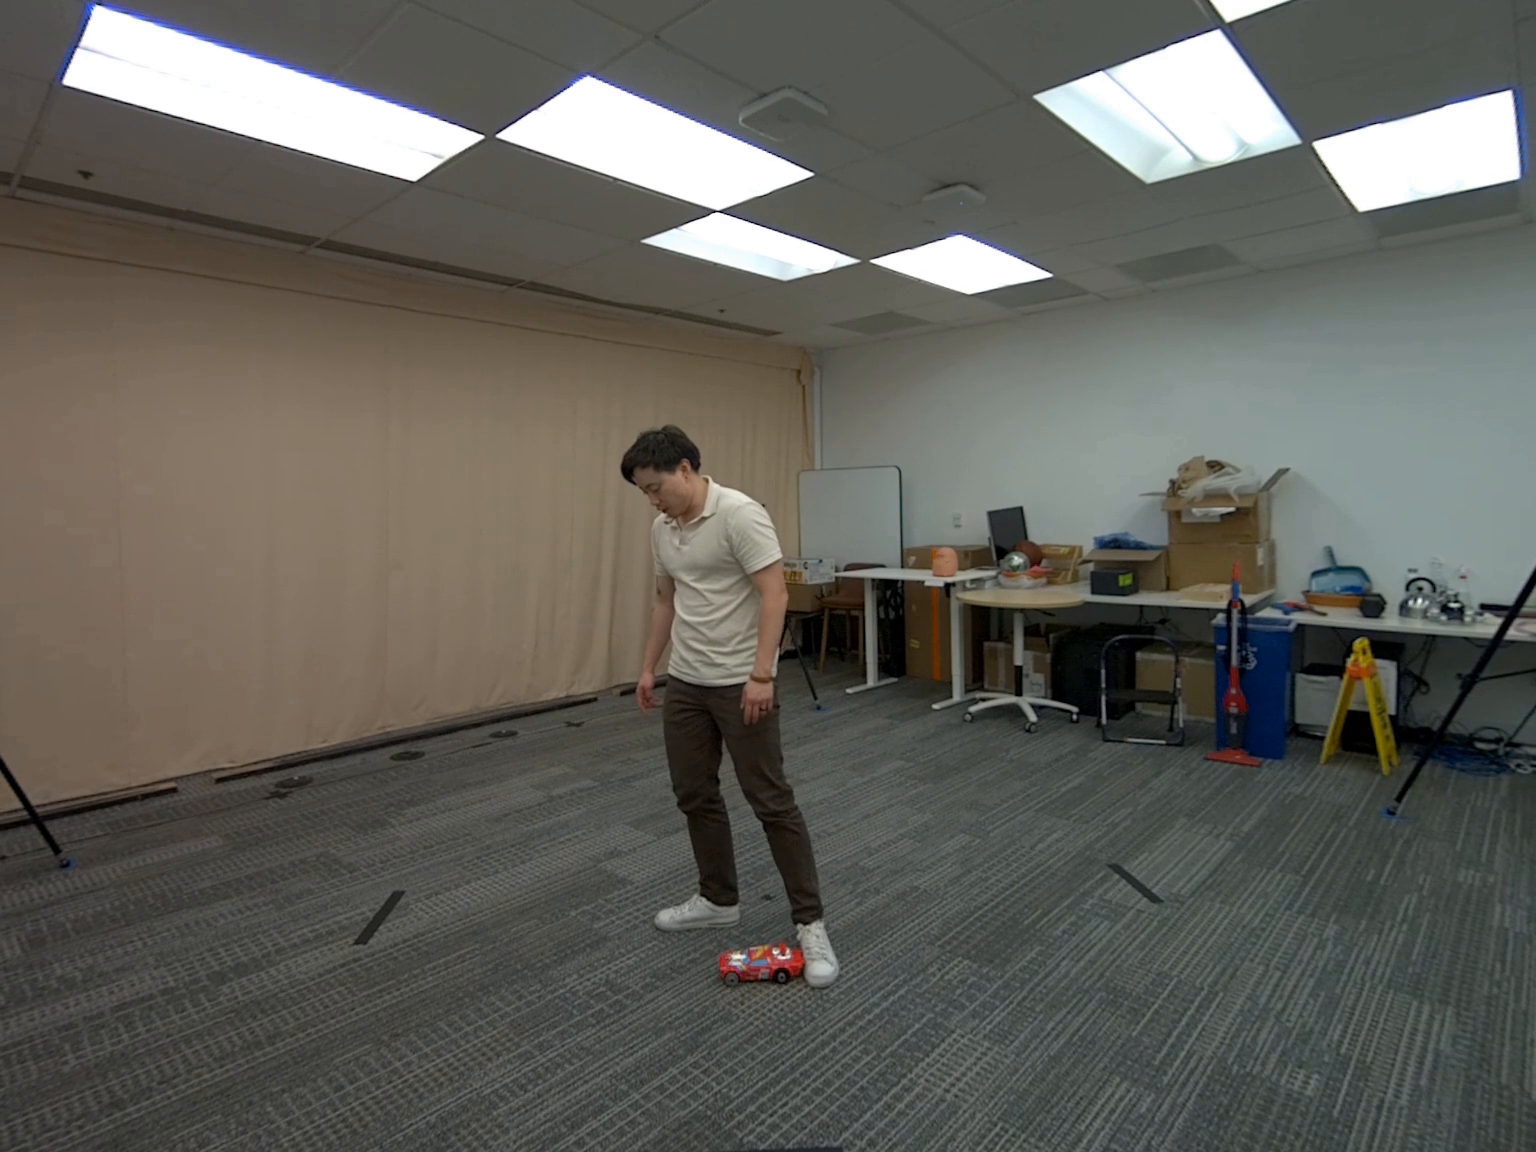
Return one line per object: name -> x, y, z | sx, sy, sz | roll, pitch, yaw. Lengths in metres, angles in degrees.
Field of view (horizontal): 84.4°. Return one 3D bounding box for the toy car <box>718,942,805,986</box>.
toy car -> -0.019, 1.153, 2.486 | 0.254, 0.083, 0.131 | -11, 5, -1
